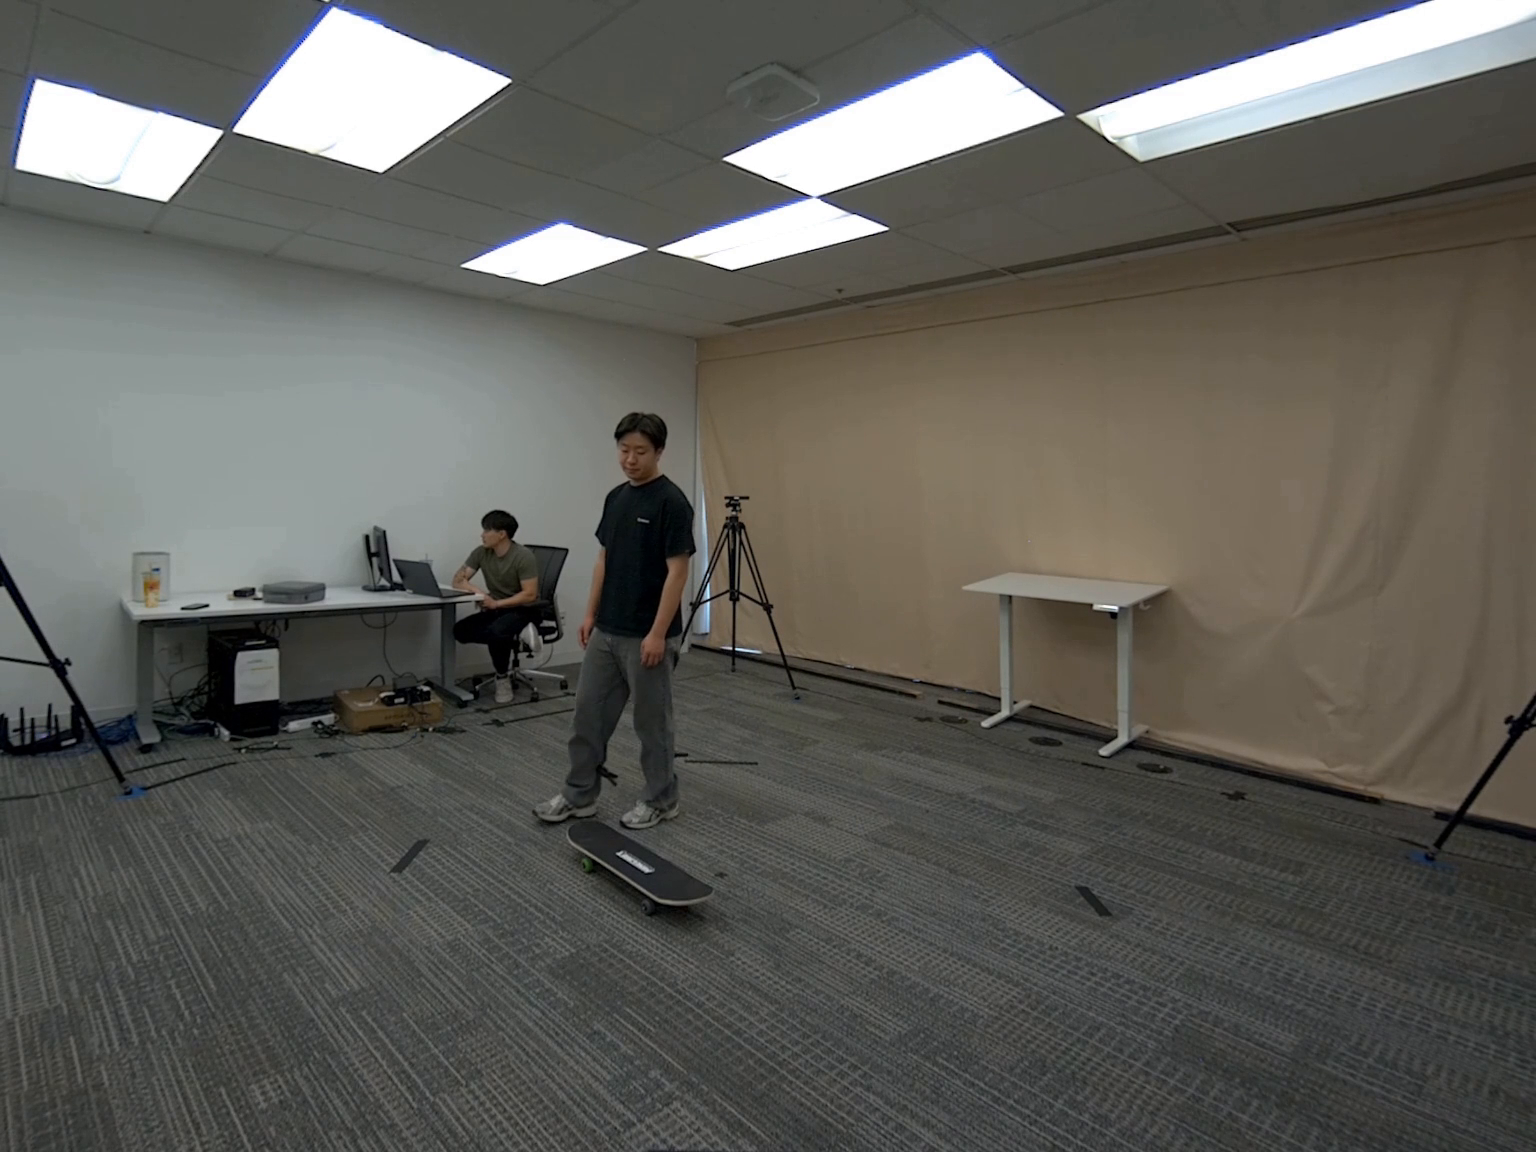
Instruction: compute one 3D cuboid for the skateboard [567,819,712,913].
[{"bbox_3d":[-0.484,1.055,3.002,0.189,0.110,0.806,-2,6,-42],"label":"skateboard"}]
